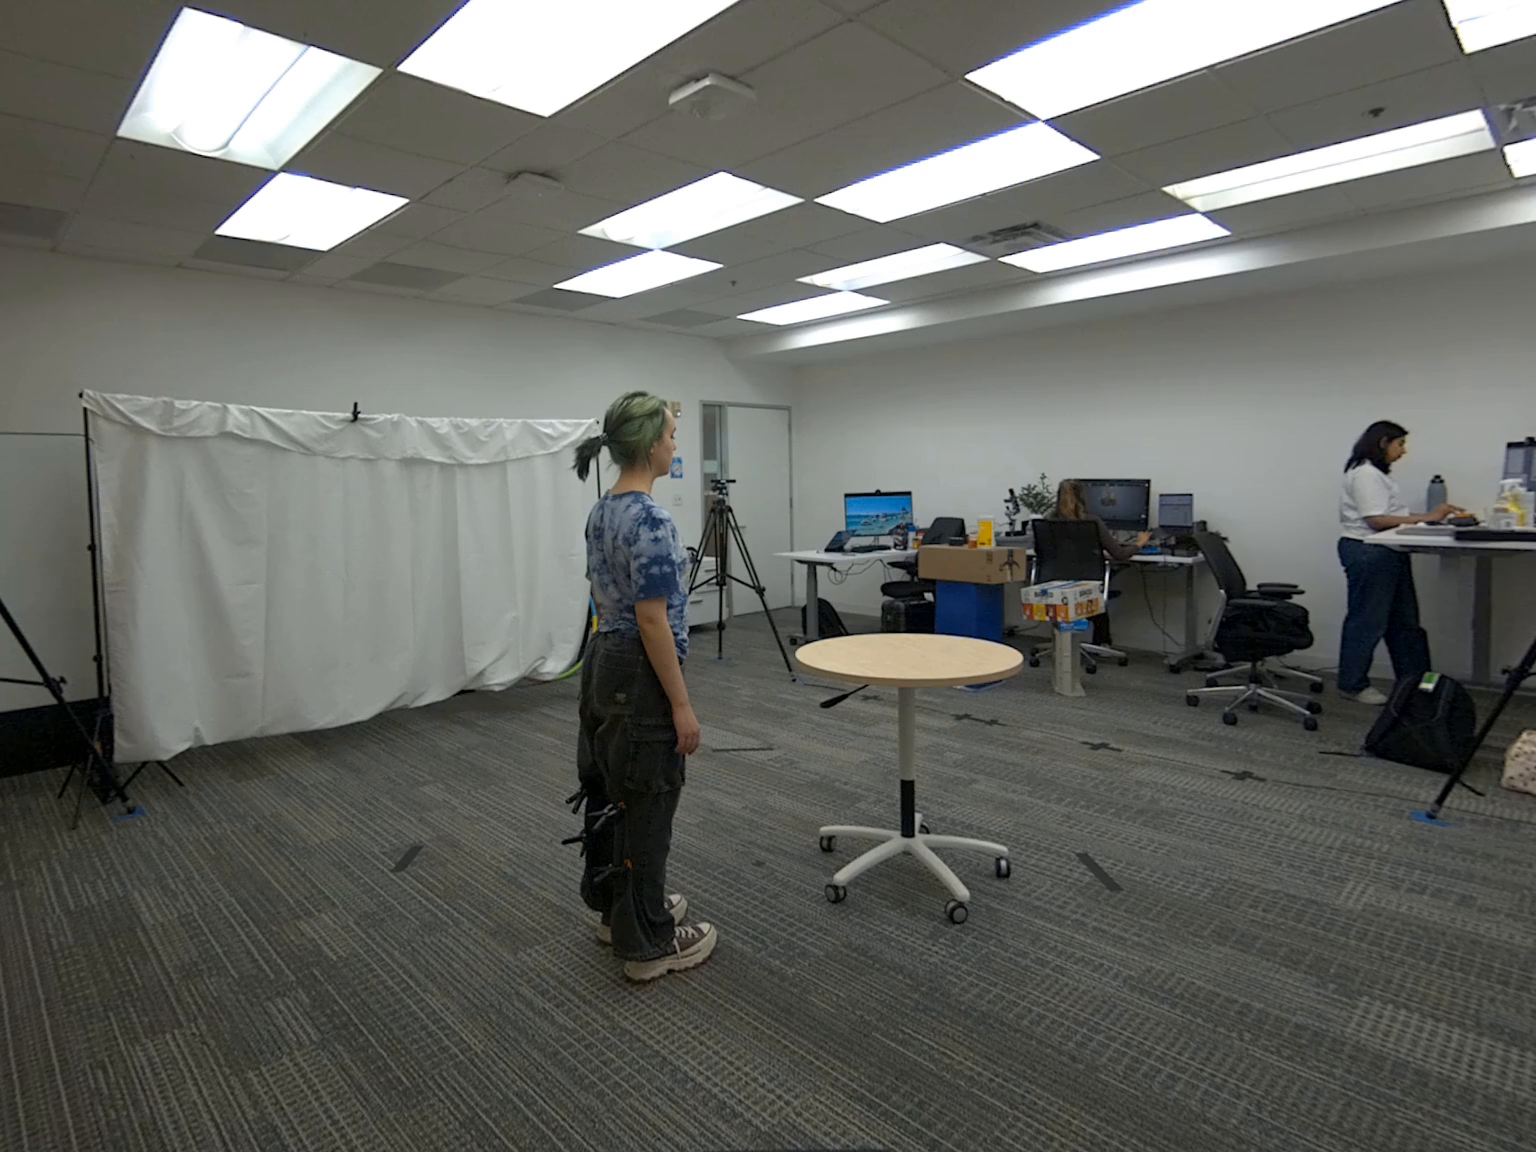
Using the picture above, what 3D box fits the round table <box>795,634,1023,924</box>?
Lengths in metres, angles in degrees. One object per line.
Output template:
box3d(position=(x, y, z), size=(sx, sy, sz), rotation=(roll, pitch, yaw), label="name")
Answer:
box3d(position=(0.484, 0.663, 2.980), size=(0.763, 0.791, 0.768), rotation=(-1, 4, -2), label="round table")
